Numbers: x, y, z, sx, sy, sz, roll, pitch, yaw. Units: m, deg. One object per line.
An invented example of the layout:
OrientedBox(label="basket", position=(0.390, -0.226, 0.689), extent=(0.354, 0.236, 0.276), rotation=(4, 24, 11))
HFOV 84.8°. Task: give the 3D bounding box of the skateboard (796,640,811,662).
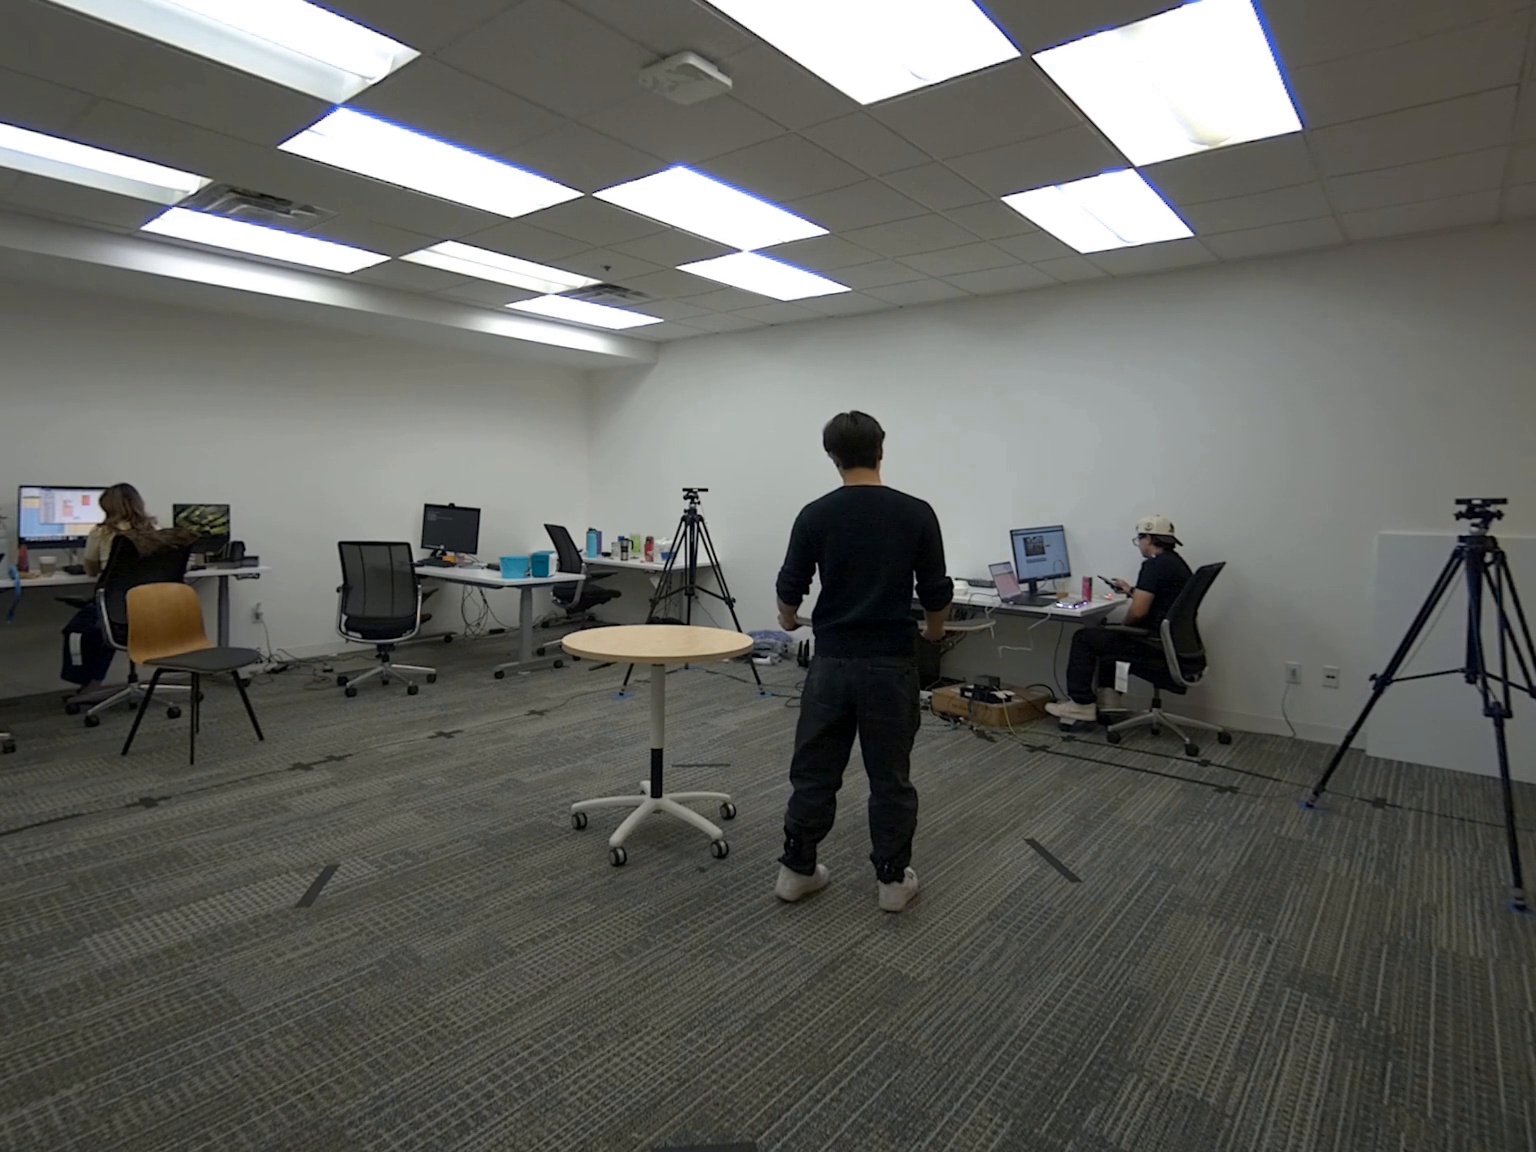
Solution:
OrientedBox(label="skateboard", position=(0.448, 0.217, 3.224), extent=(0.785, 0.110, 0.194), rotation=(1, 4, -1))
